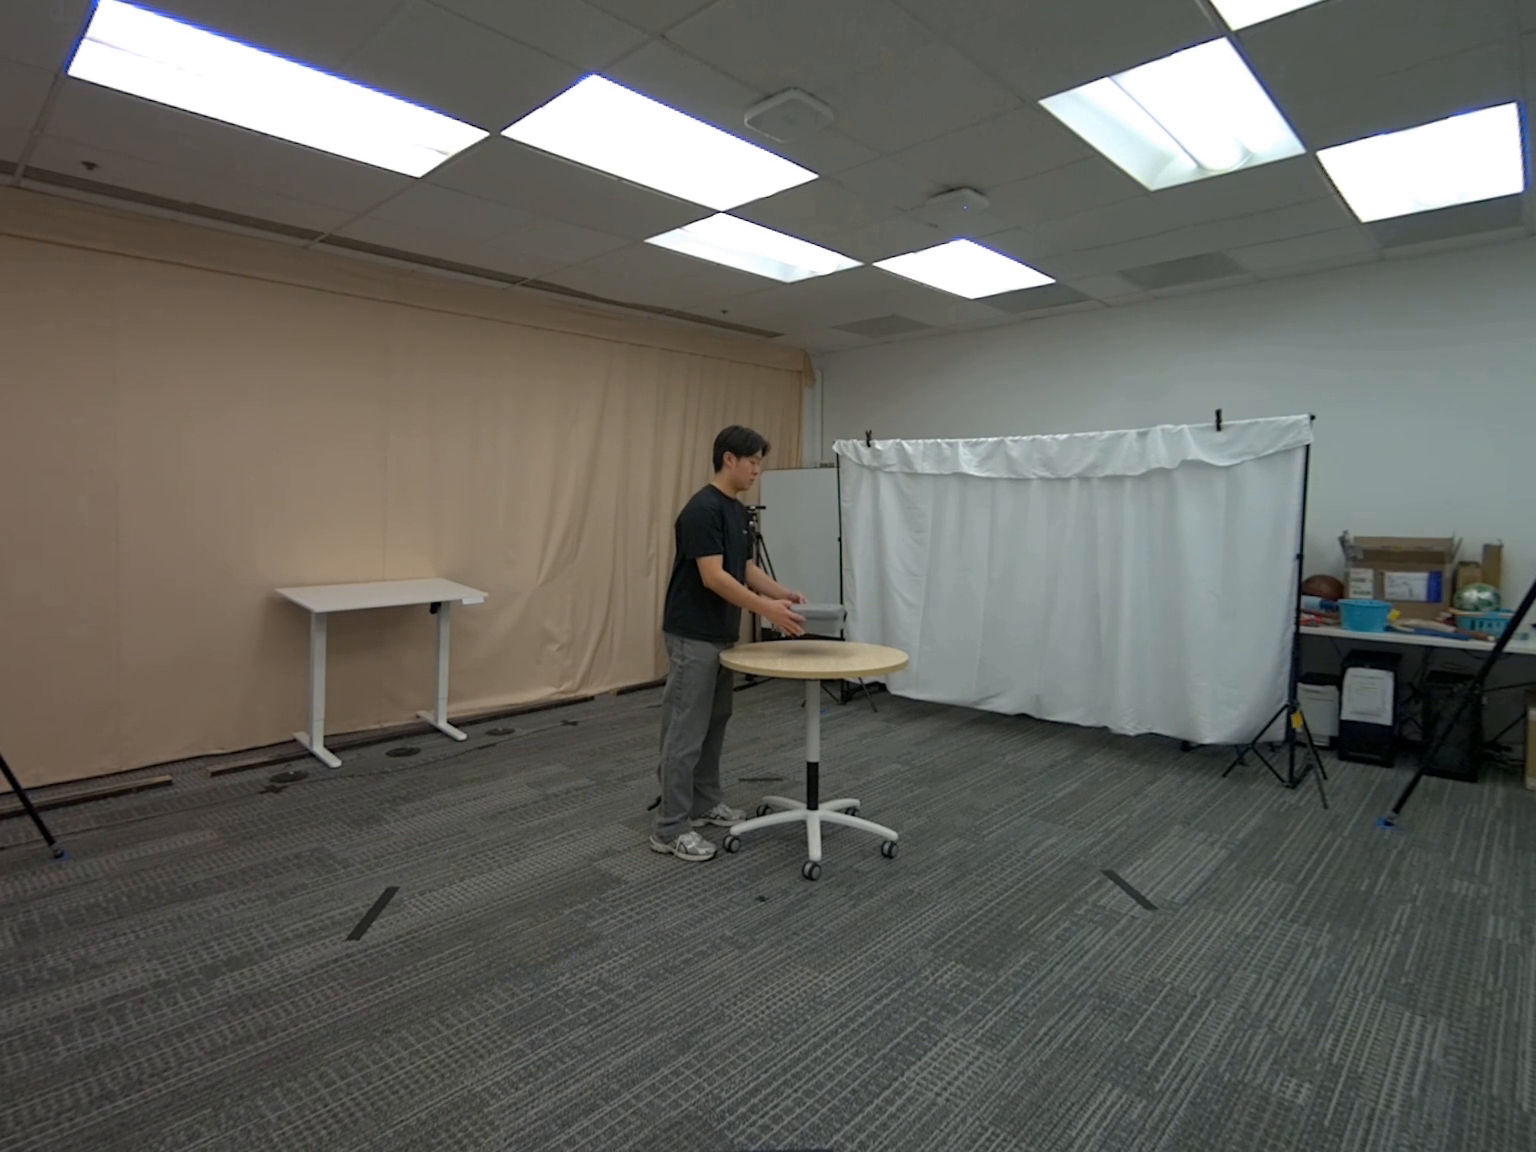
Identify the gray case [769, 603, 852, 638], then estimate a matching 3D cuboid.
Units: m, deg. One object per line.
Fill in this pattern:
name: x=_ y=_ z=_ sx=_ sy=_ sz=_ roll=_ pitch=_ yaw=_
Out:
gray case: x=0.175 y=0.175 z=3.469 sx=0.292 sy=0.103 sz=0.259 roll=0 pitch=4 yaw=17
